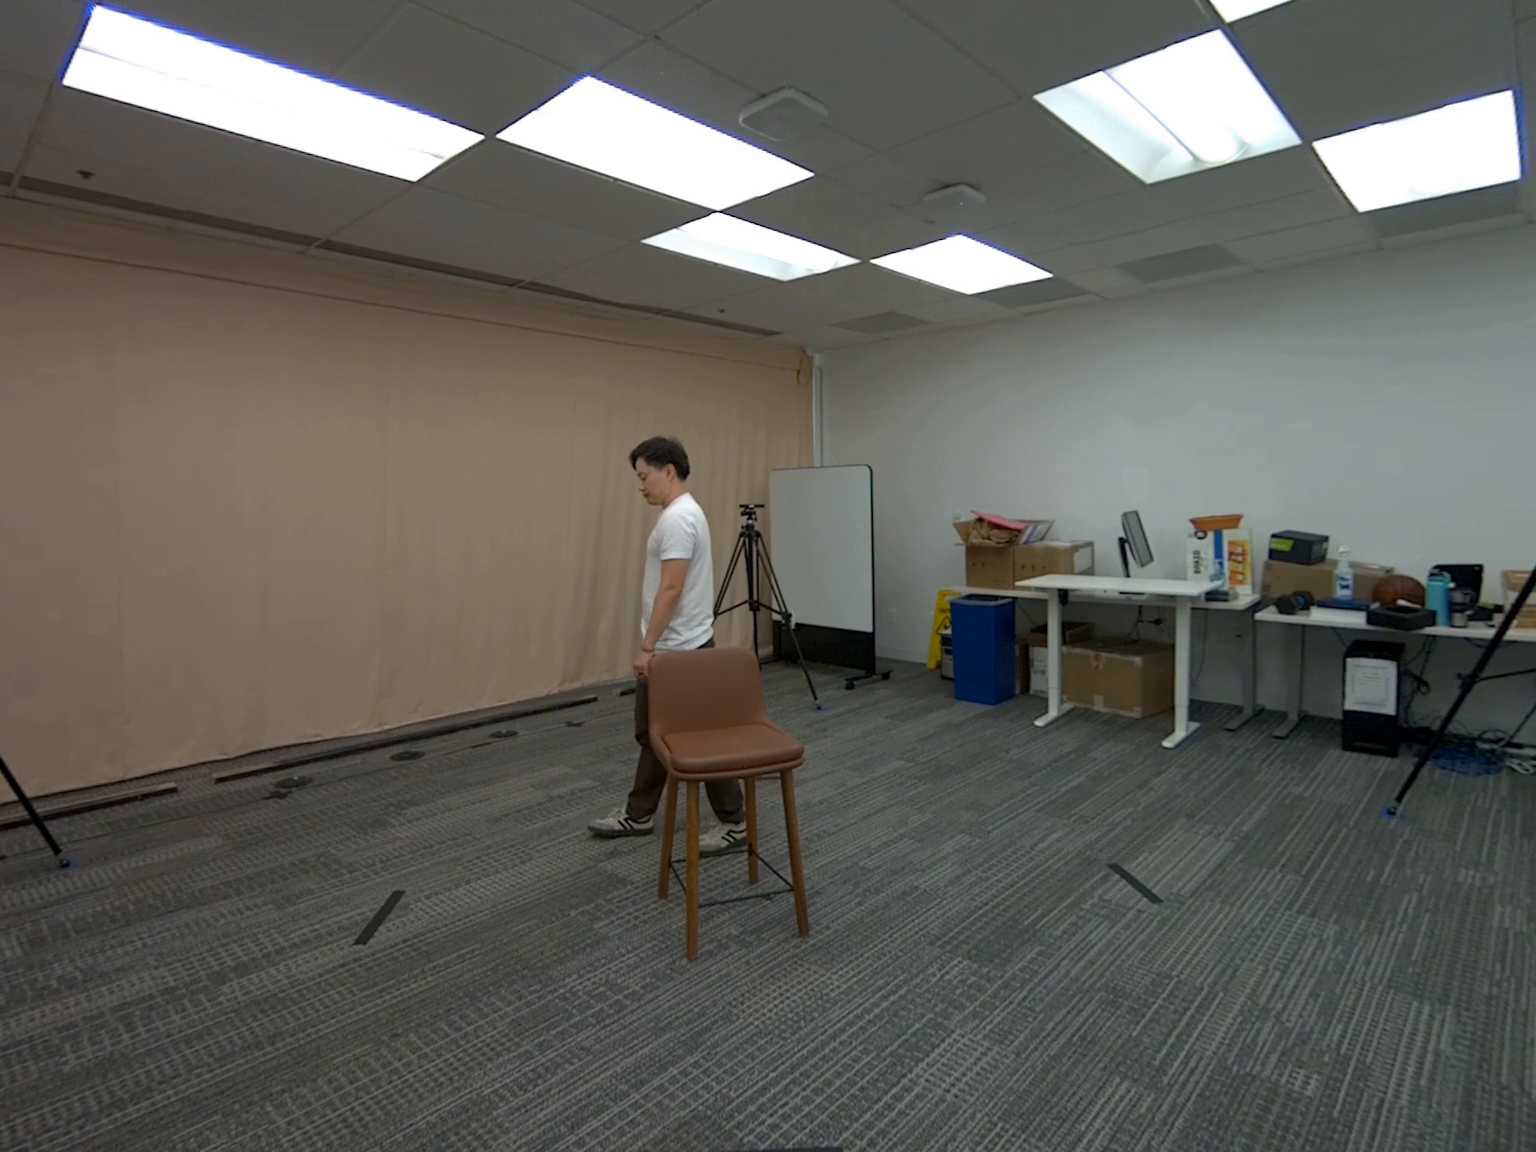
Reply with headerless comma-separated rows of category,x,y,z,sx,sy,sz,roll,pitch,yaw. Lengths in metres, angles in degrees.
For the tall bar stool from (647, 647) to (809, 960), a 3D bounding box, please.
tall bar stool,-0.143,0.717,2.842,0.447,0.889,0.477,-2,1,-20
